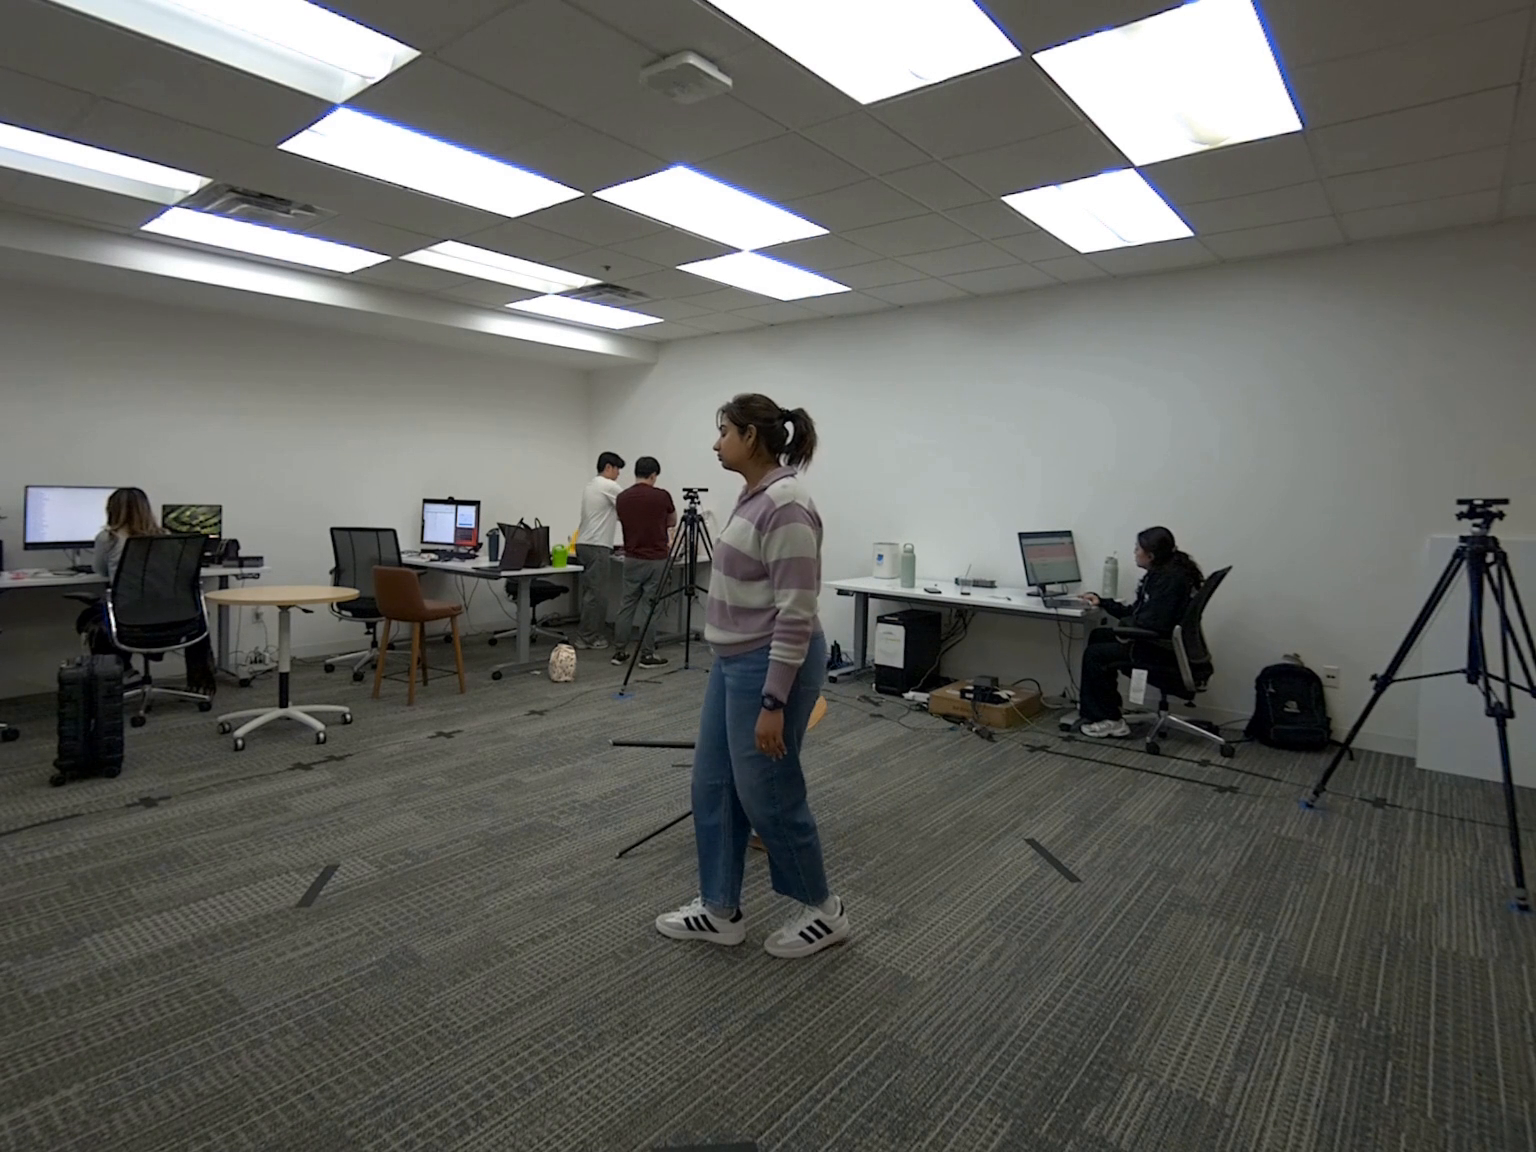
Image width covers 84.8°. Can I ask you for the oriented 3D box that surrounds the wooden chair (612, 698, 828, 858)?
[{"bbox_3d":[-0.142,0.791,3.323,0.494,0.518,0.857,3,14,41],"label":"wooden chair"}]
